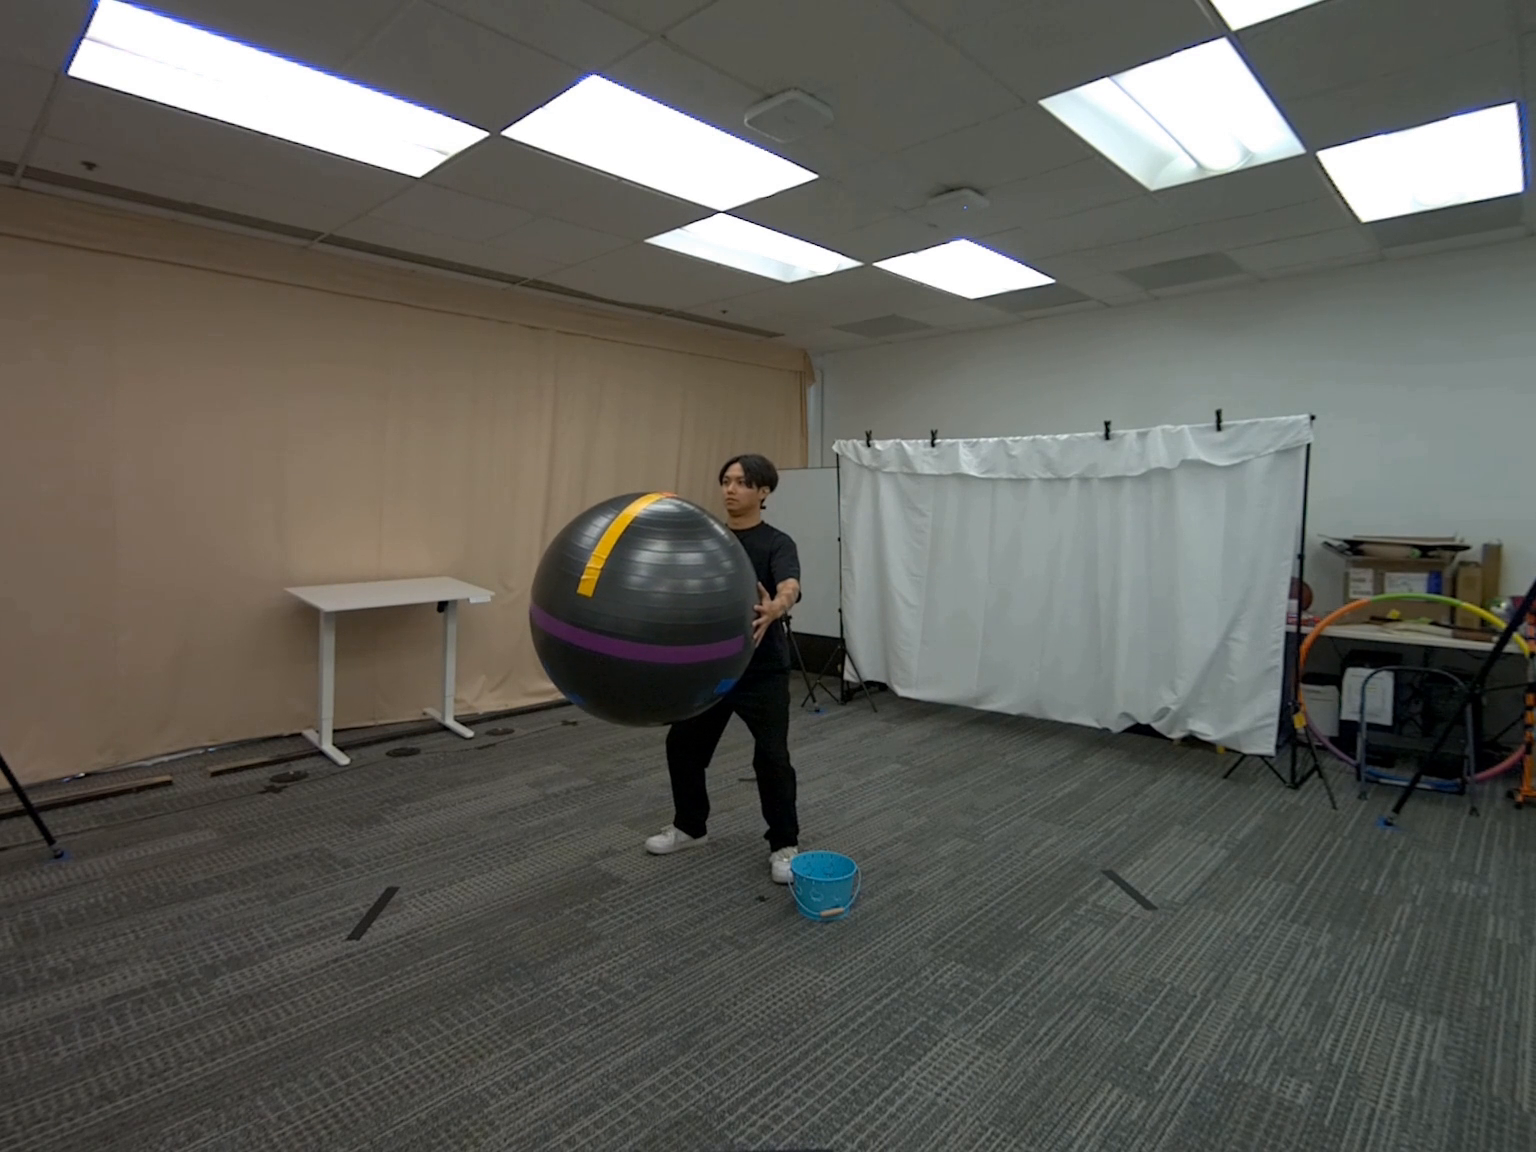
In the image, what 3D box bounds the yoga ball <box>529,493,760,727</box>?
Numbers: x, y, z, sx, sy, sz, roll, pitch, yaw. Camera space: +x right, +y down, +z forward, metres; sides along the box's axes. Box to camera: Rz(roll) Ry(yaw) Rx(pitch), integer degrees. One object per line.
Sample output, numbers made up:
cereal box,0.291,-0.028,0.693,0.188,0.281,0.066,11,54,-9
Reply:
yoga ball,-0.410,0.115,2.752,0.757,0.756,0.760,0,4,-2
